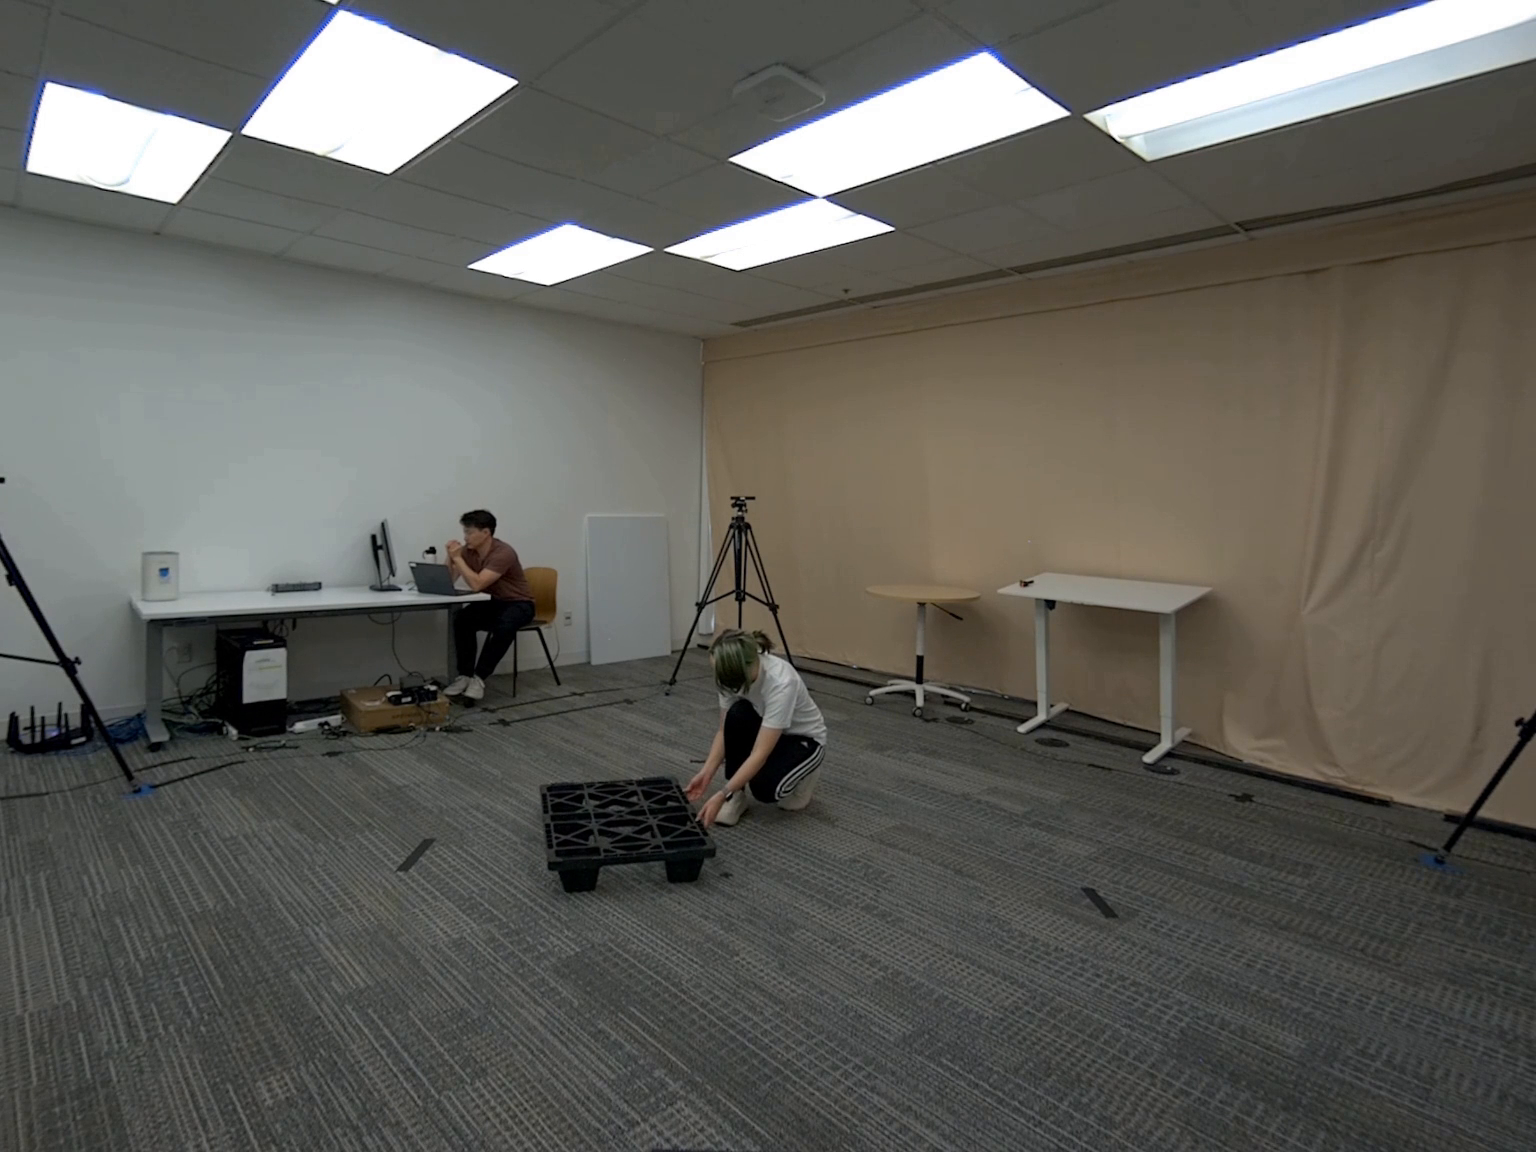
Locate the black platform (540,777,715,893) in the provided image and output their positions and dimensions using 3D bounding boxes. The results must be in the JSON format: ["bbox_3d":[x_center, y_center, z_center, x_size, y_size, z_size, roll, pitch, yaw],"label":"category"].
[{"bbox_3d":[-0.597,1.004,3.332,0.598,0.143,0.818,-1,6,-16],"label":"black platform"}]
